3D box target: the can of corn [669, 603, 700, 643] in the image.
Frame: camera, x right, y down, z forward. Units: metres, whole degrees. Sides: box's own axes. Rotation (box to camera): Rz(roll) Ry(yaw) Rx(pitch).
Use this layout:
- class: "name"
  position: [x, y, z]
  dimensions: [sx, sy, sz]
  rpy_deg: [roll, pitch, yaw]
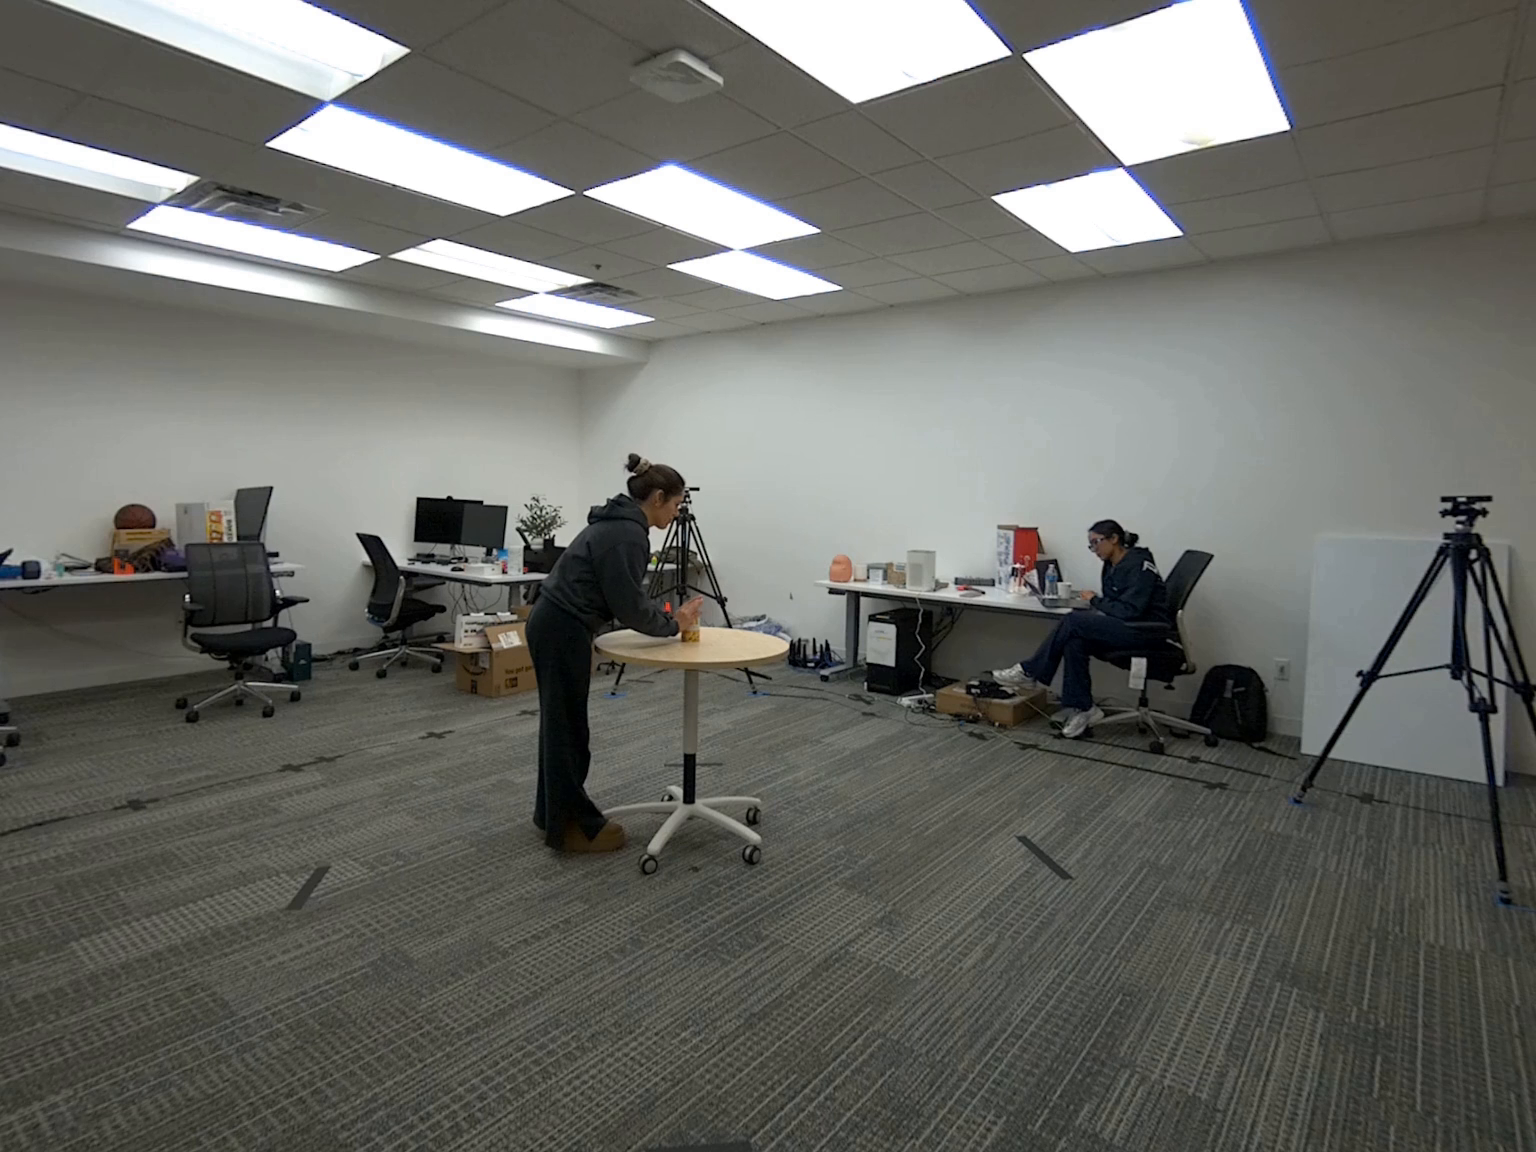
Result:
- class: "can of corn"
  position: [-0.323, 0.200, 3.377]
  dimensions: [0.074, 0.111, 0.074]
  rpy_deg: [1, -1, -2]
